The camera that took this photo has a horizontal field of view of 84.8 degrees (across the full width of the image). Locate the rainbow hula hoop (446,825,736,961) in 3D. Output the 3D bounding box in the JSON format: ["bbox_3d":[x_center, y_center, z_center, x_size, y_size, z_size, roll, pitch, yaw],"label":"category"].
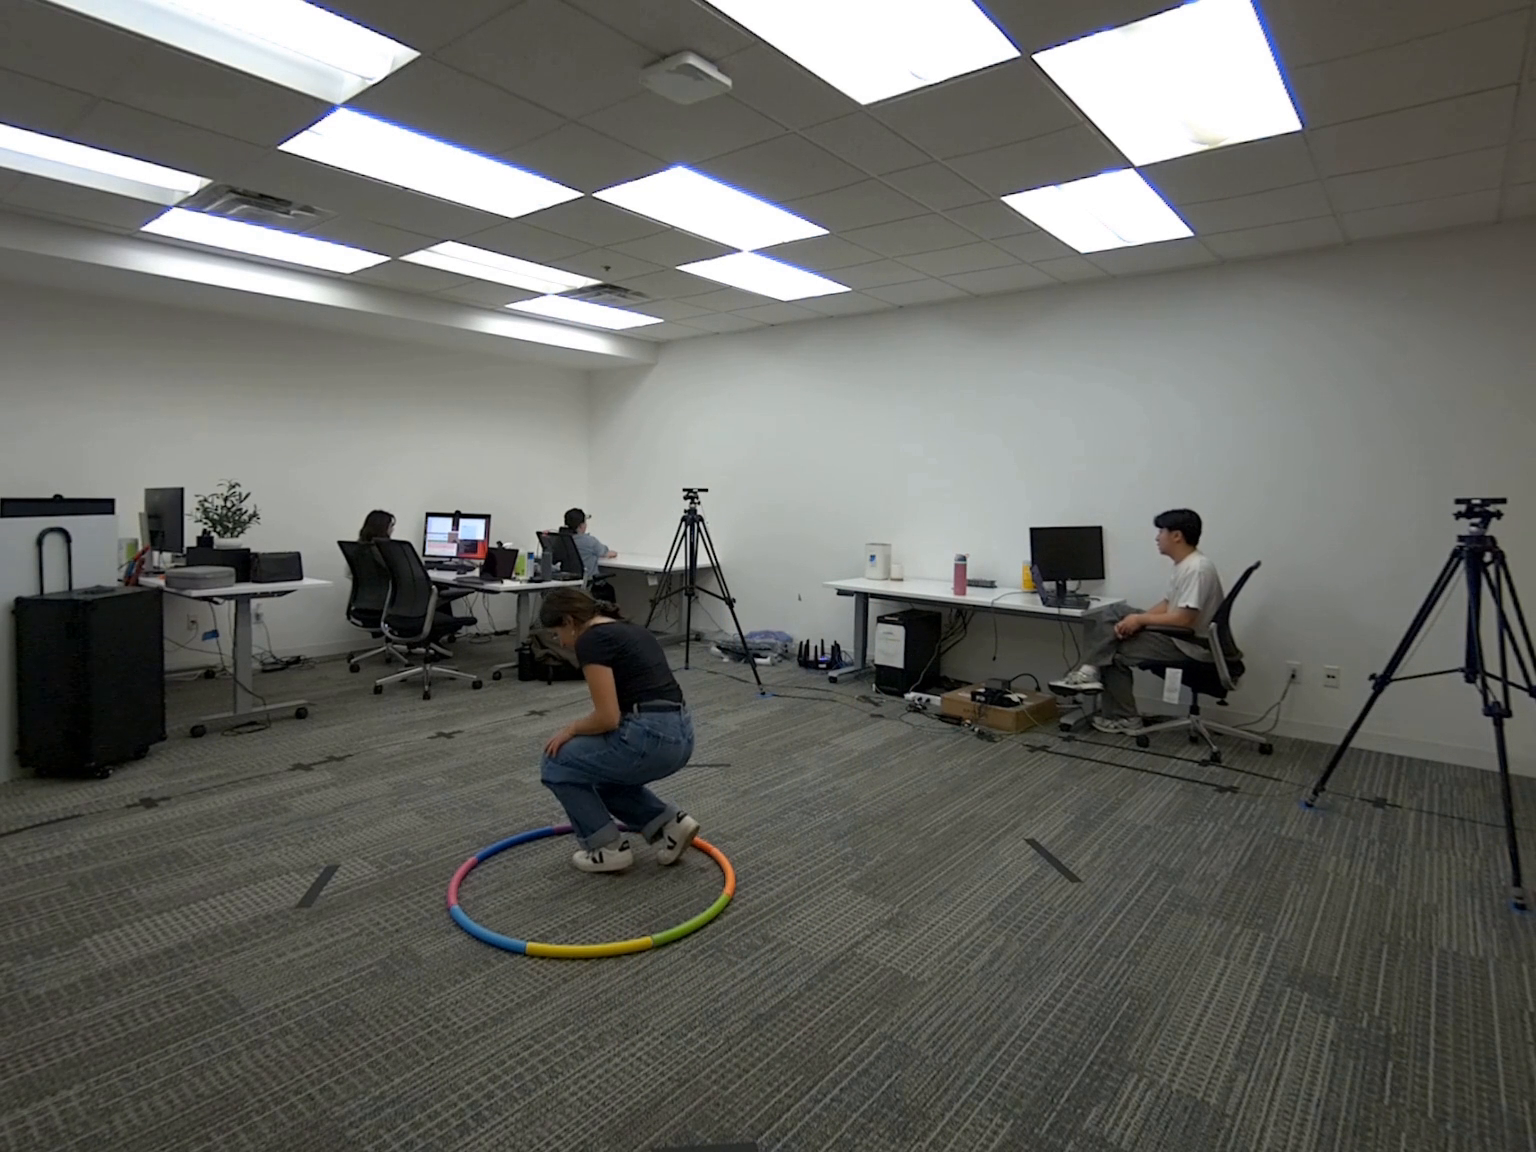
[{"bbox_3d":[-0.603,1.040,2.983,0.978,0.035,0.984,1,6,-2],"label":"rainbow hula hoop"}]
